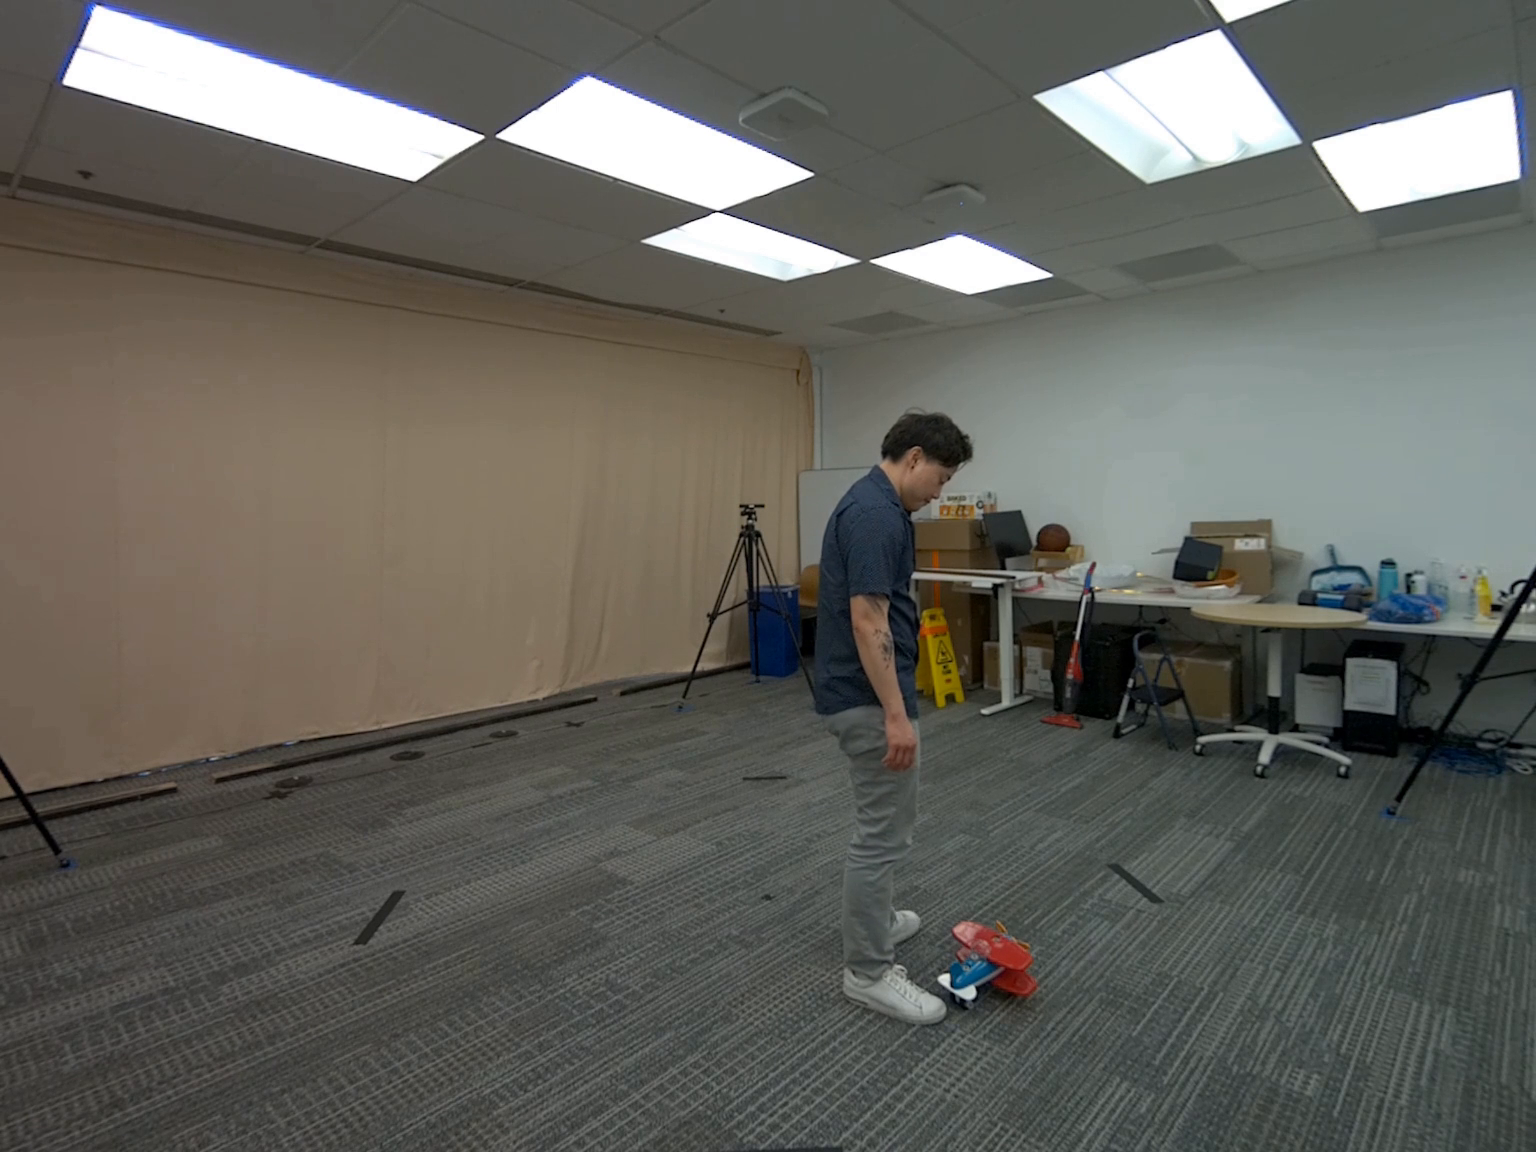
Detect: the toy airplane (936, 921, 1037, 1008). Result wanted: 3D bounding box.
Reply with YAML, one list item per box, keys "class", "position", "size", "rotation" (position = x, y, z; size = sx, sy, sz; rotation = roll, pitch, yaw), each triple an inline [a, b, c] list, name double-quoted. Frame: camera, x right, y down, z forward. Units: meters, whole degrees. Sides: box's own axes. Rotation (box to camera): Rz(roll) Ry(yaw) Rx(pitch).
- class: "toy airplane"
  position: [0.633, 1.116, 2.351]
  size: [0.258, 0.156, 0.252]
  rotation: [3, 4, 29]
